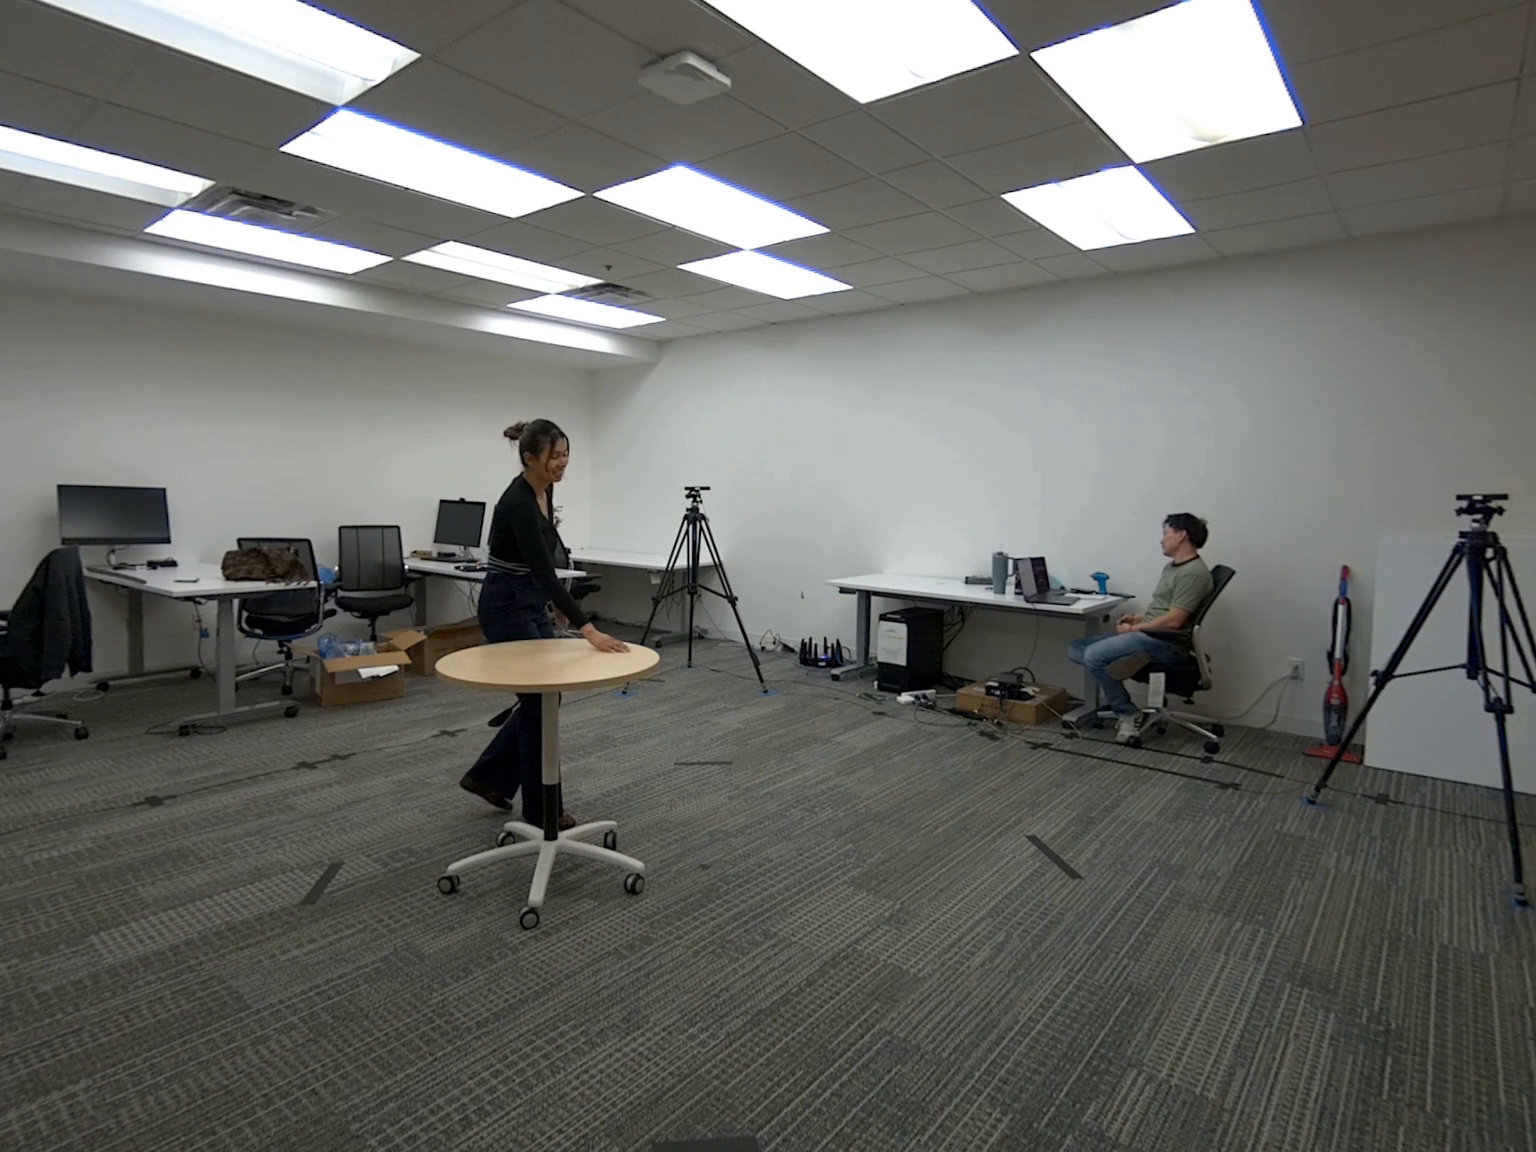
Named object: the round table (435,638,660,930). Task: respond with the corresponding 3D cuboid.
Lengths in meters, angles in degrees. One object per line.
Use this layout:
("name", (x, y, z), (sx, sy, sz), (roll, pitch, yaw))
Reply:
("round table", (-0.774, 0.680, 2.998), (0.763, 0.791, 0.768), (0, 4, -2))
